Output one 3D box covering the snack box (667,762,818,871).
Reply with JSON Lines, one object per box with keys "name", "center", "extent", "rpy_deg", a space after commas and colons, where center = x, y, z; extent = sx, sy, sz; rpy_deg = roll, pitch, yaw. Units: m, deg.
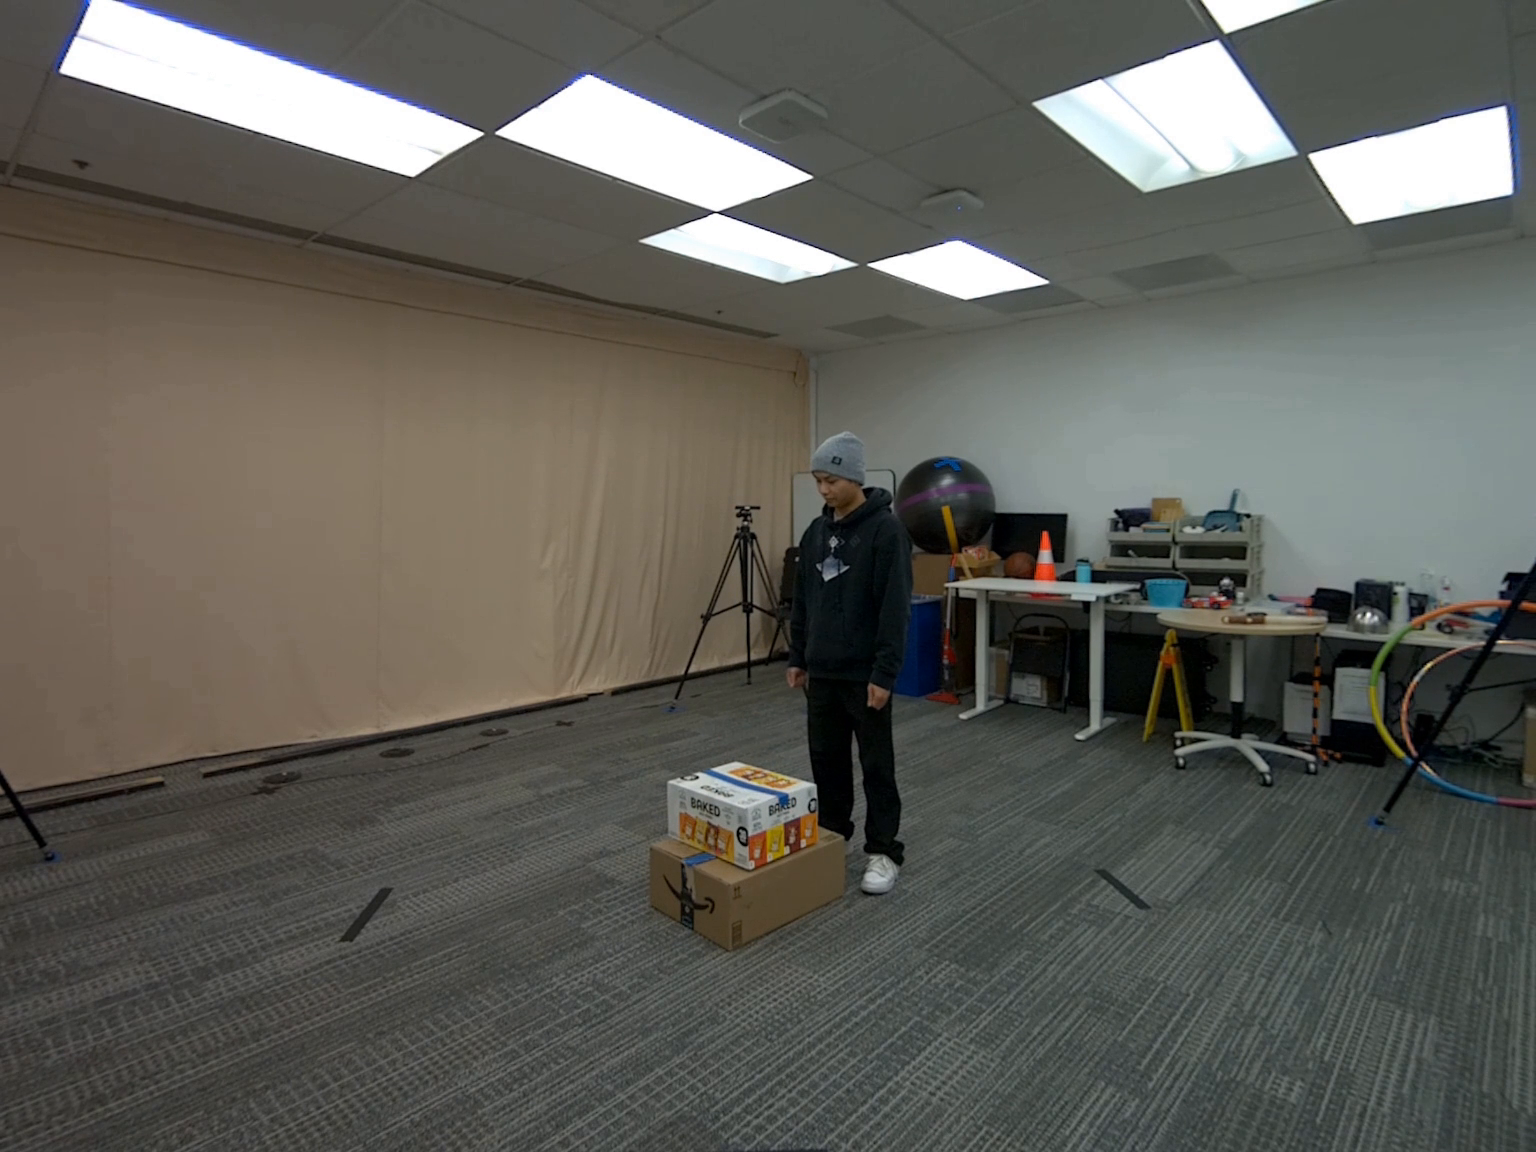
{"name": "snack box", "center": [-0.090, 0.829, 2.953], "extent": [0.330, 0.205, 0.418], "rpy_deg": [-4, 5, -44]}
